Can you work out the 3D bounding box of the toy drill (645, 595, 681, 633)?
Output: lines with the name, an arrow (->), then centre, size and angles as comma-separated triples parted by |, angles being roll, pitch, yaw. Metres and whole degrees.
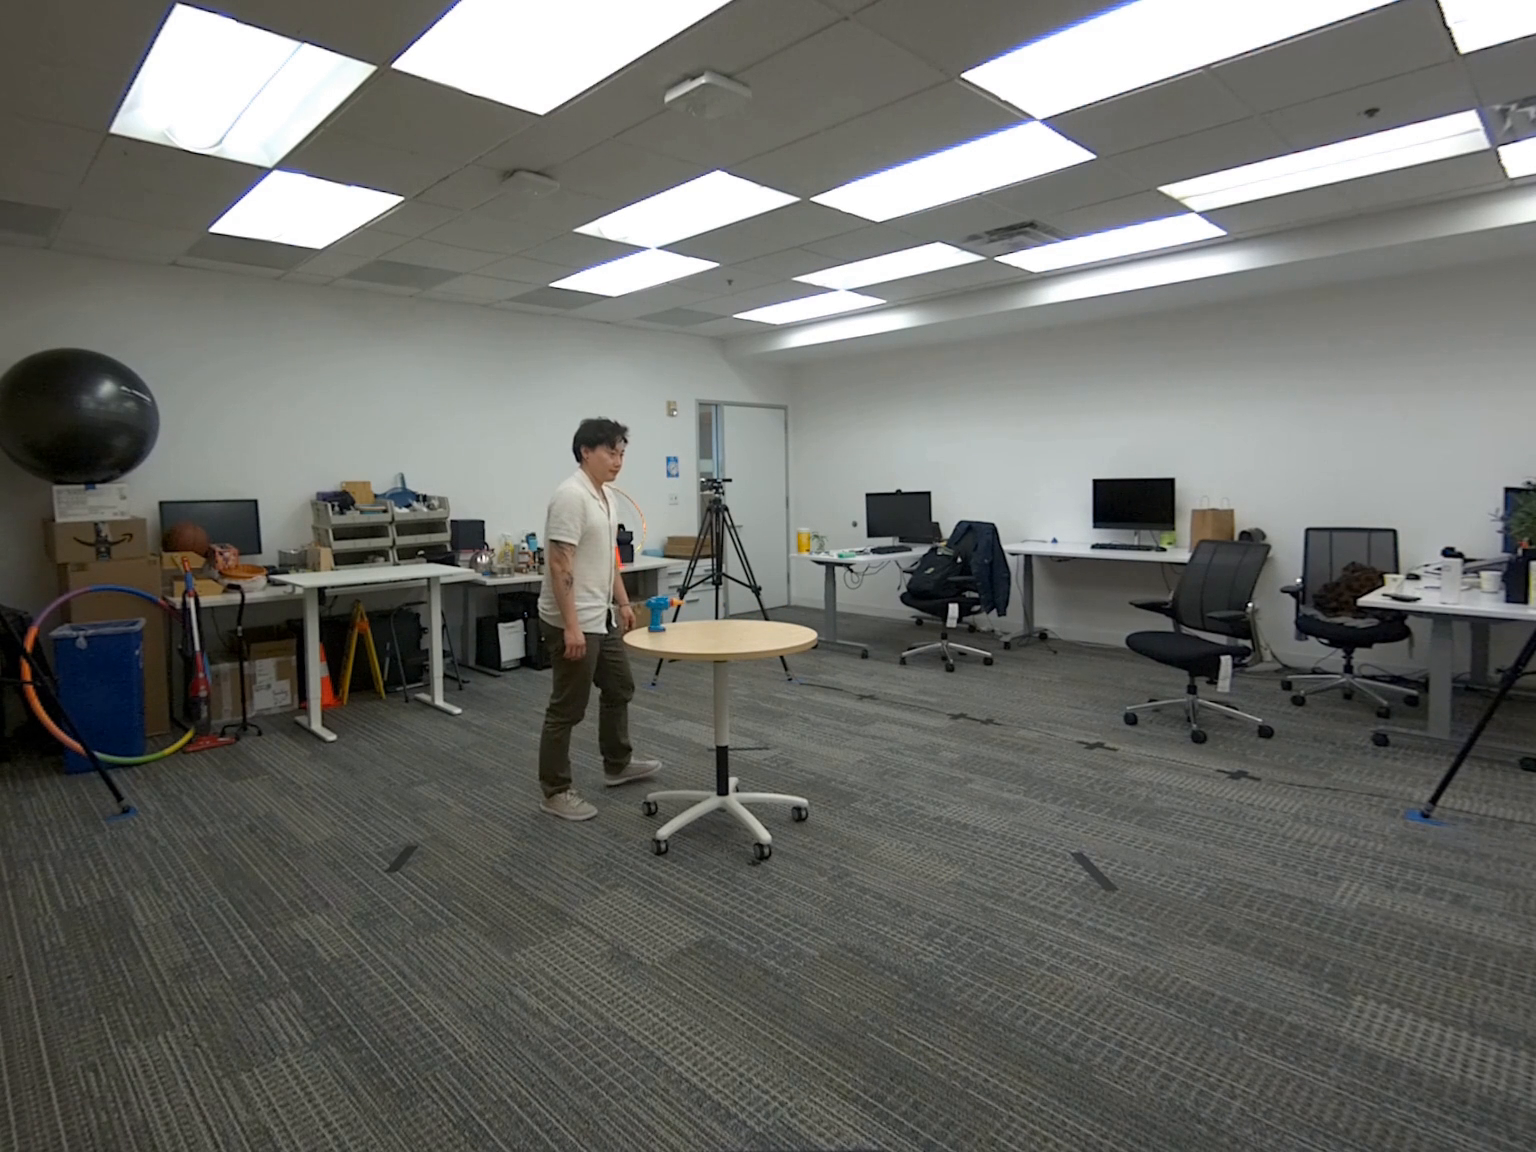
toy drill -> -0.412, 0.153, 3.493 | 0.167, 0.145, 0.062 | 0, 4, -20
